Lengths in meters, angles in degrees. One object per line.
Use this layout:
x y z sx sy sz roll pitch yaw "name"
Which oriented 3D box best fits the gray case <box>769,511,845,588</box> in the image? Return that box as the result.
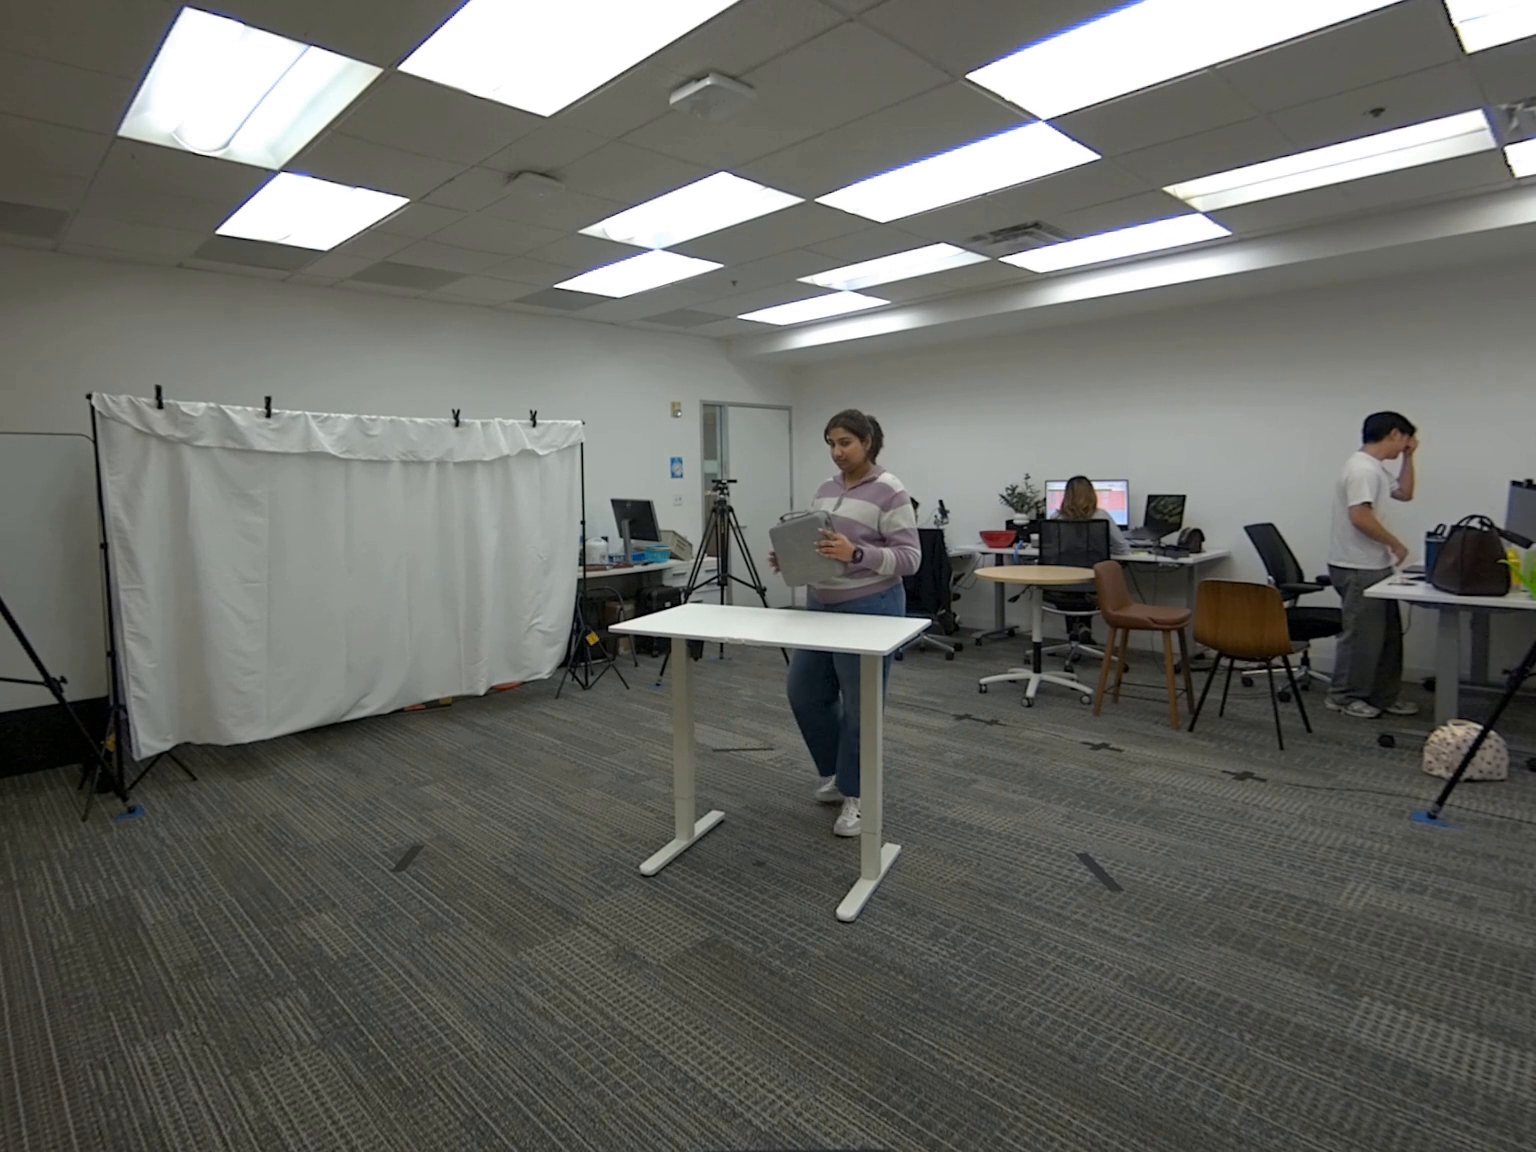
0.155 -0.109 3.251 0.262 0.260 0.102 -17 3 38 "gray case"
